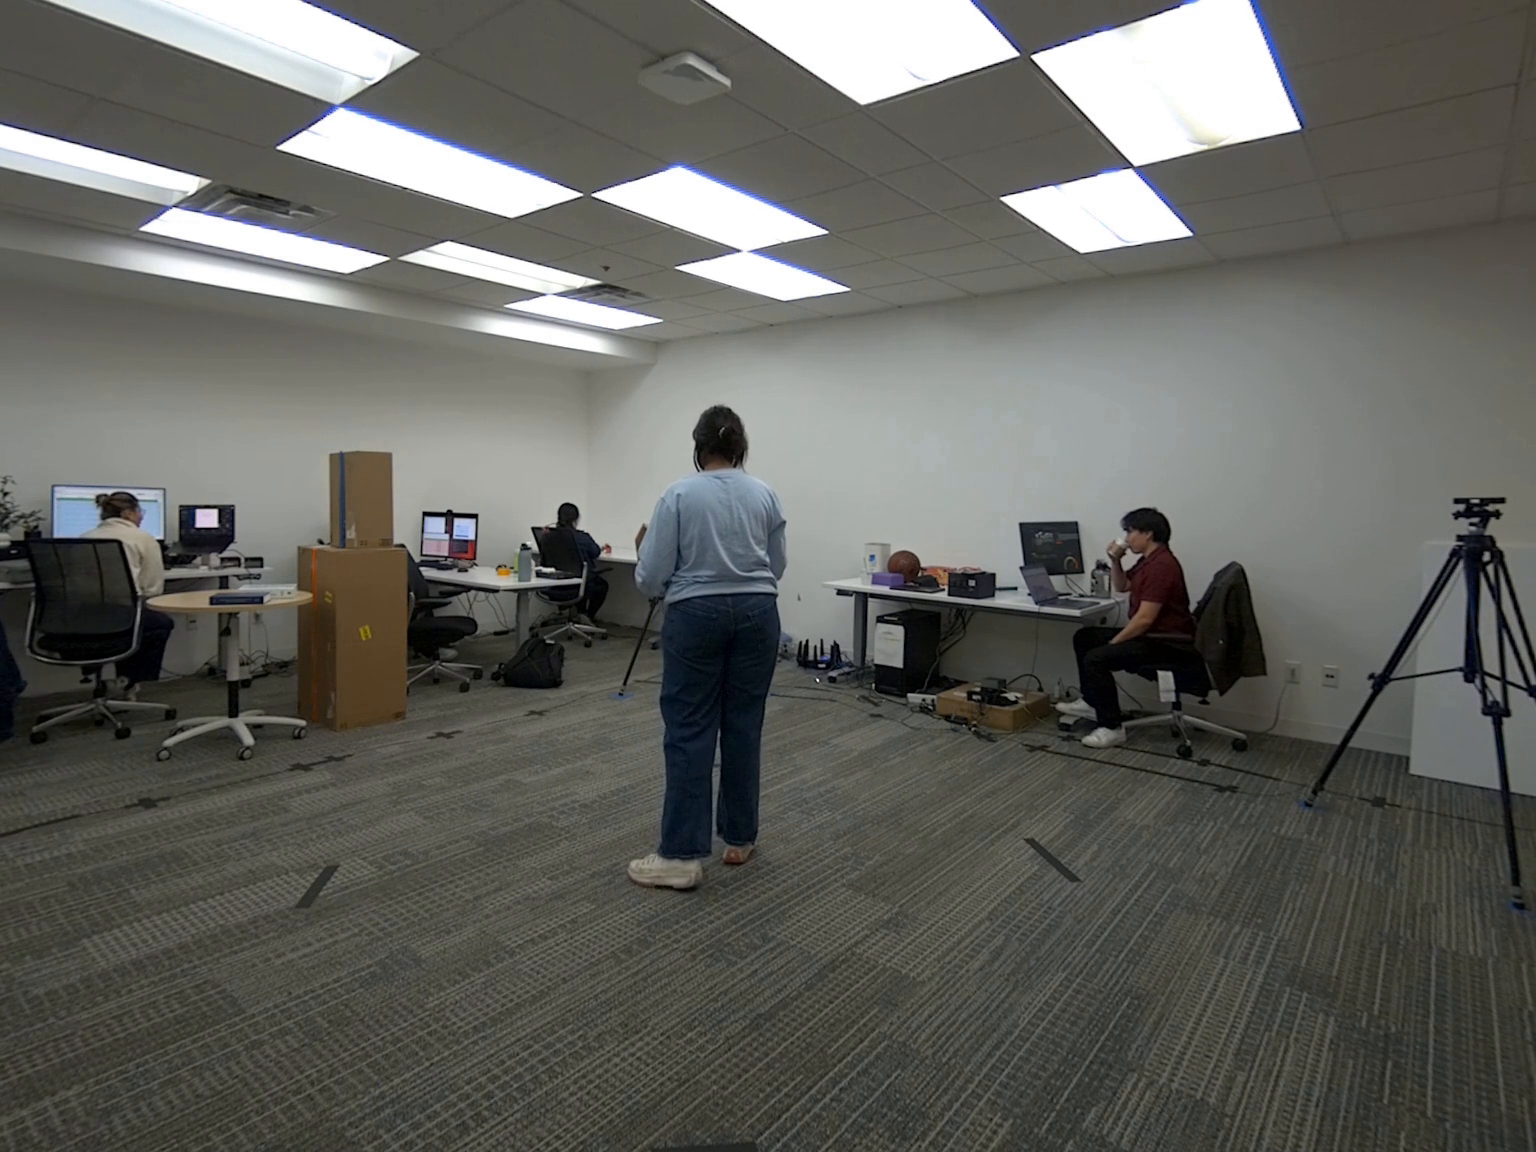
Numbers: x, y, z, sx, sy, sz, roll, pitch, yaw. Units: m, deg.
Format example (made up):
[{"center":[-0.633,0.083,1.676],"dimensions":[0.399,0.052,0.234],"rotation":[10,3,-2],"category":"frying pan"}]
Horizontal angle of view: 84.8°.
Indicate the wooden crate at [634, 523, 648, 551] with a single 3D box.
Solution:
[{"center":[-0.370,-0.131,3.403],"dimensions":[0.269,0.295,0.337],"rotation":[-15,27,-23],"category":"wooden crate"}]
